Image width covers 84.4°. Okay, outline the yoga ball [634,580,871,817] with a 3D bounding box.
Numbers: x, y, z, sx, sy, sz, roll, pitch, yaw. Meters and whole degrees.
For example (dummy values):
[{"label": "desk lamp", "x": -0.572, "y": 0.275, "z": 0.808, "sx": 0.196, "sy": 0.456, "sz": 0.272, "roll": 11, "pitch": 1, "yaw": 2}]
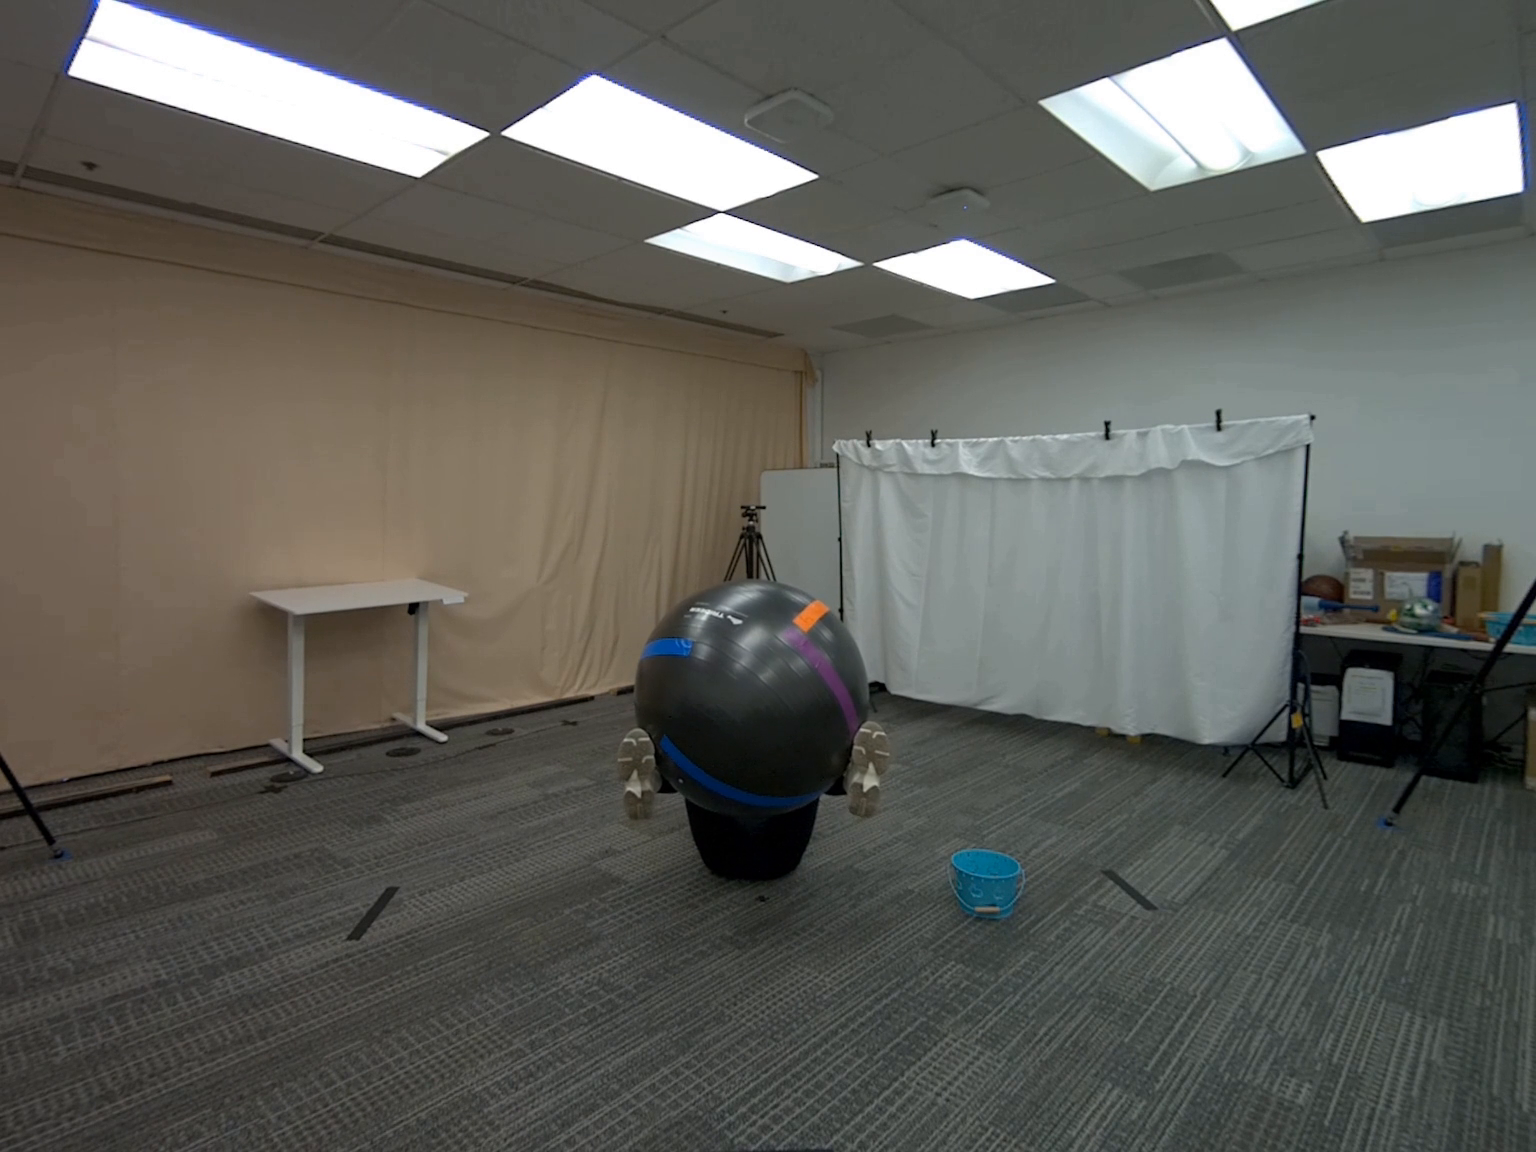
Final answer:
[{"label": "yoga ball", "x": -0.059, "y": 0.386, "z": 2.735, "sx": 0.757, "sy": 0.756, "sz": 0.760, "roll": 0, "pitch": 4, "yaw": -2}]
